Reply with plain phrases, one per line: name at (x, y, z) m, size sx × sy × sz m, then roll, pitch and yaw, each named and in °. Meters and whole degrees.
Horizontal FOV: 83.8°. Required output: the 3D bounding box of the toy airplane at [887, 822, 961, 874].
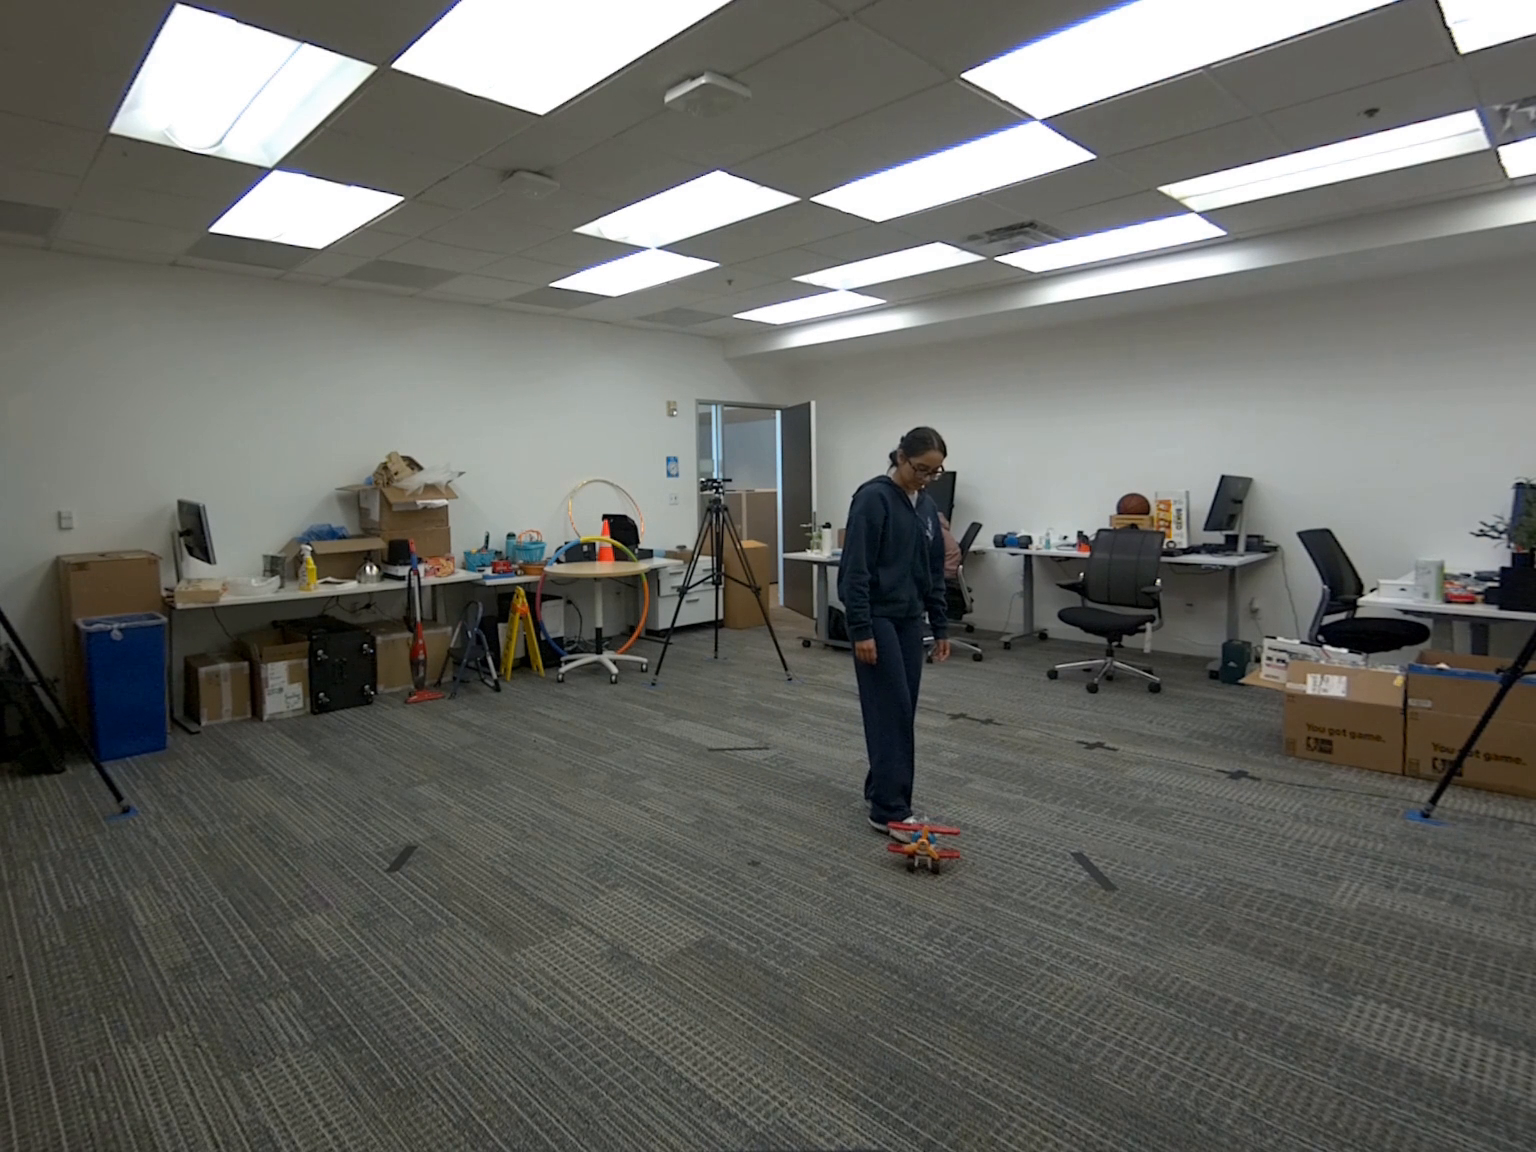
toy airplane at (0.537, 0.961, 3.091) m, size 0.247 × 0.155 × 0.265 m, roll -3°, pitch 9°, yaw -17°
